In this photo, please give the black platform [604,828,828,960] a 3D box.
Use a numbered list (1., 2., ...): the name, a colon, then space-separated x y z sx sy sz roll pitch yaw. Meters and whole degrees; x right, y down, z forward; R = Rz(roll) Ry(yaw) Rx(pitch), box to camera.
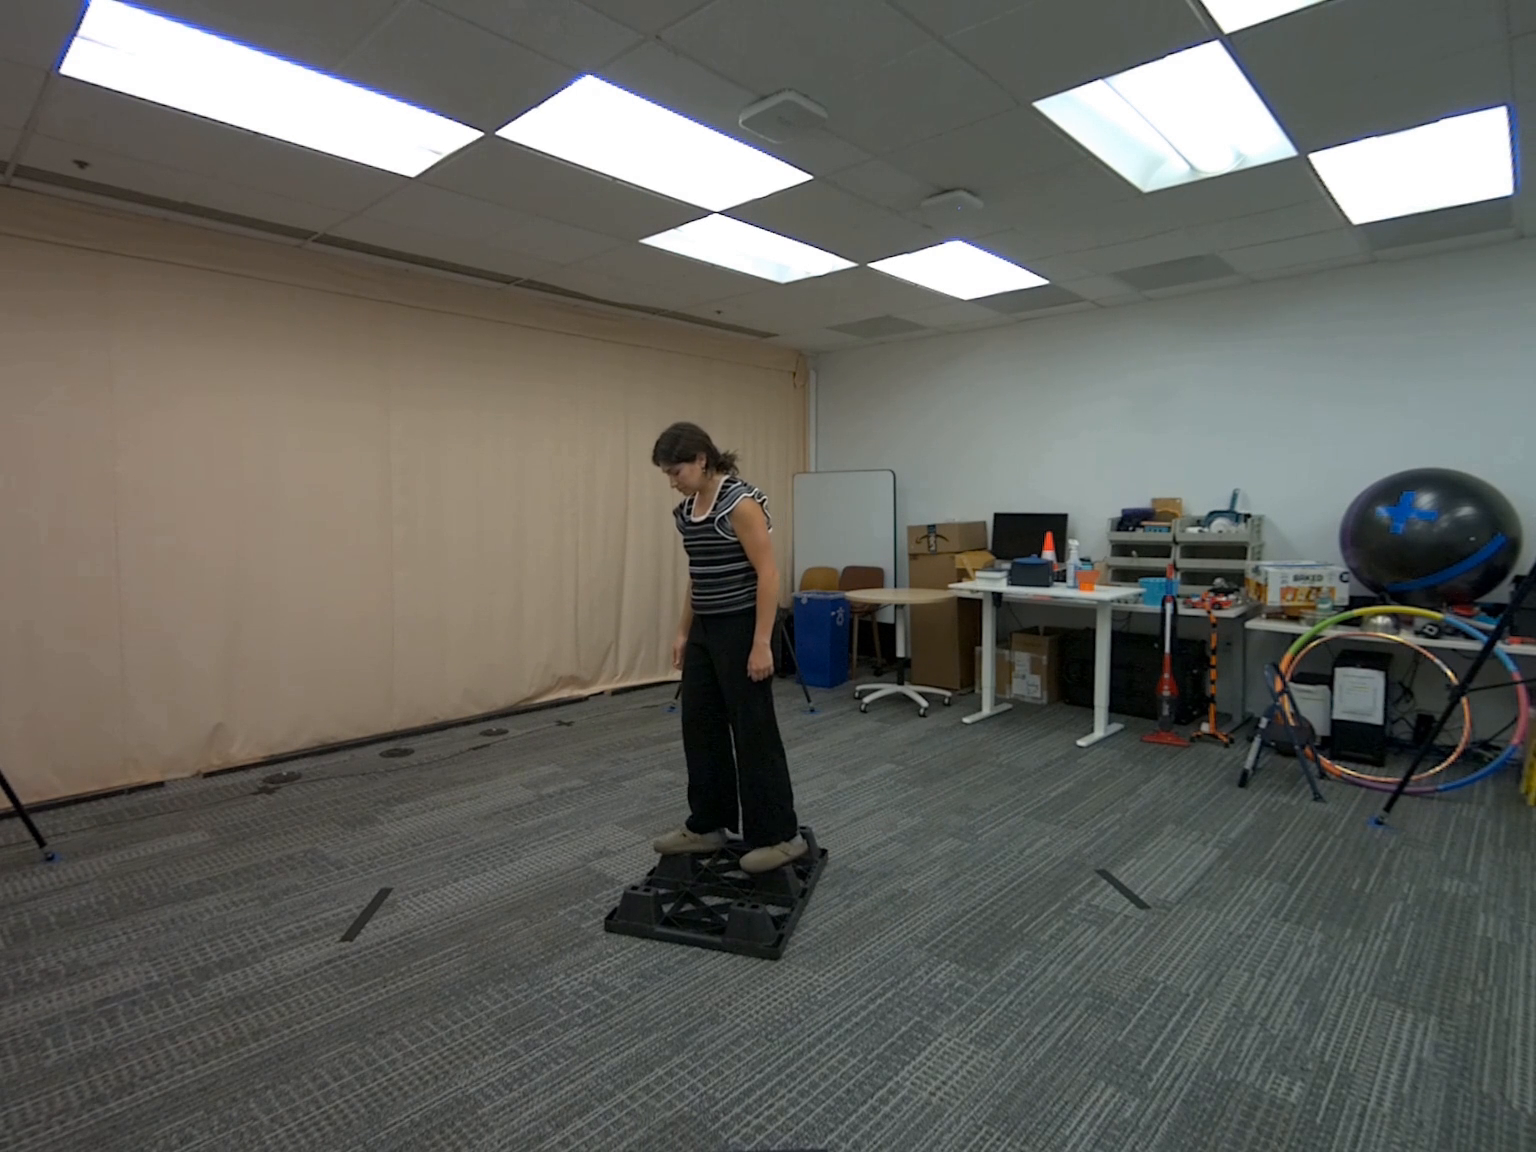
1. black platform: -0.145 1.076 3.033 0.616 0.143 0.793 0 5 16
